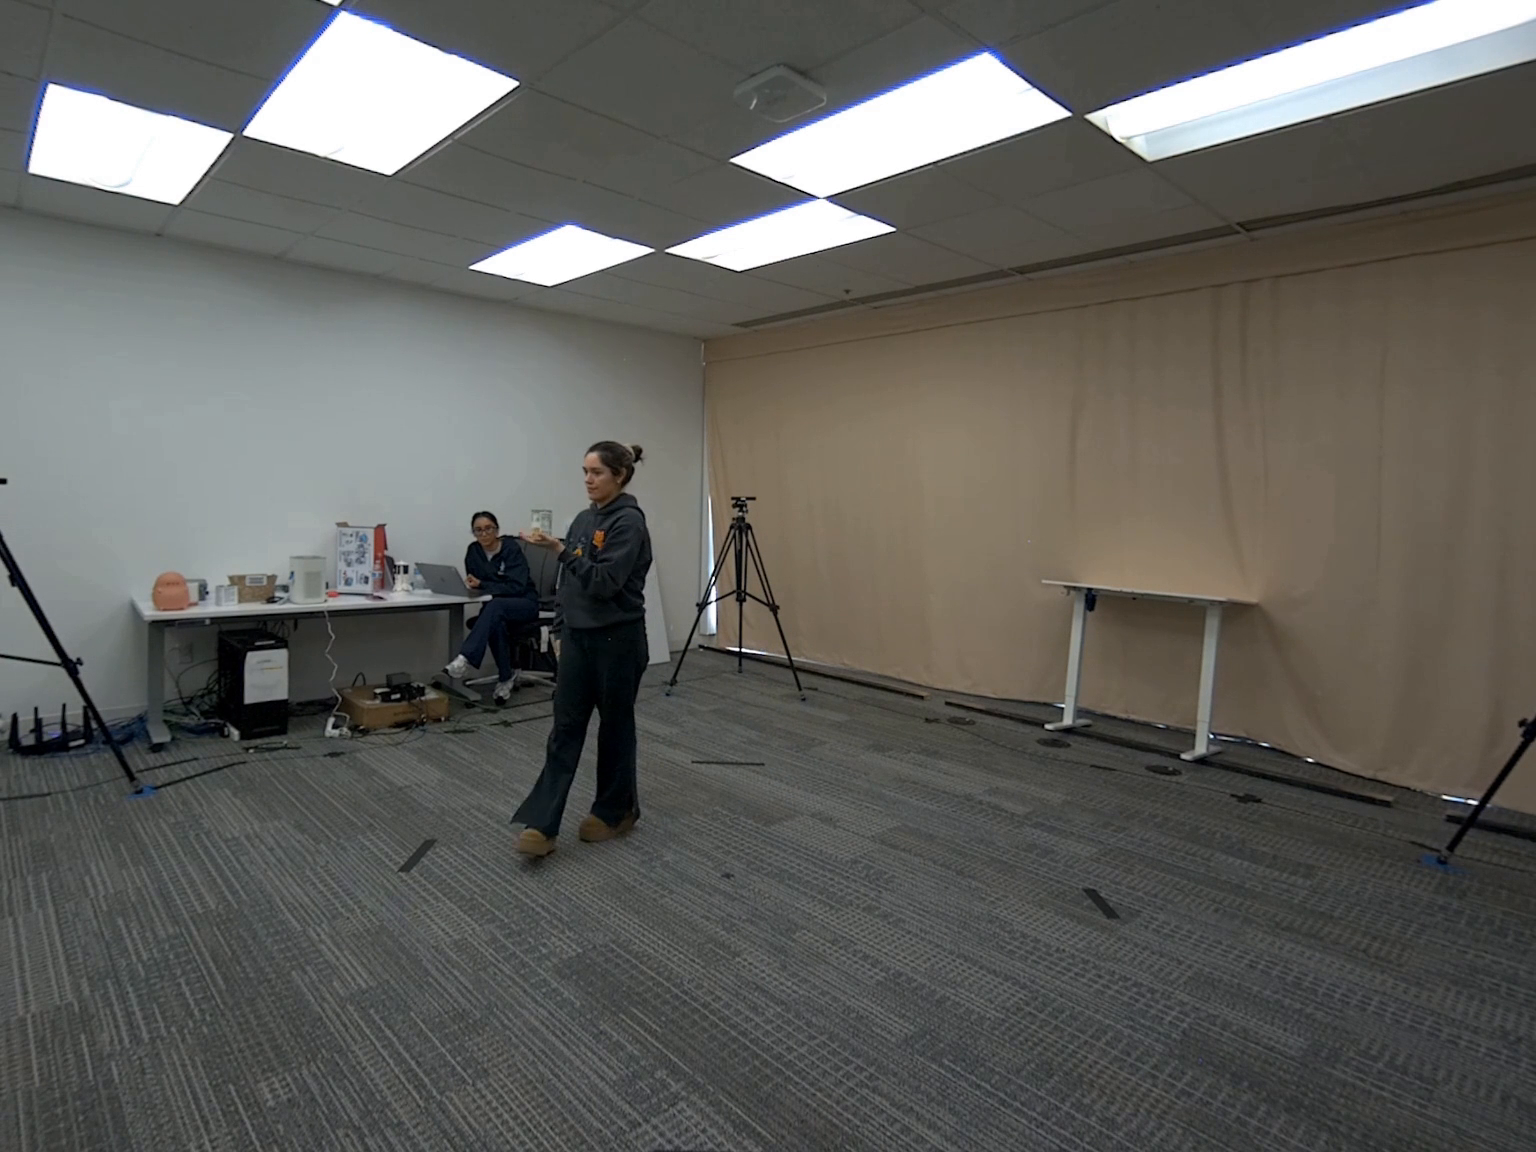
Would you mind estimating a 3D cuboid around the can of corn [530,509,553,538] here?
[{"bbox_3d":[-0.854,-0.197,3.177,0.074,0.111,0.074,1,4,-1],"label":"can of corn"}]
